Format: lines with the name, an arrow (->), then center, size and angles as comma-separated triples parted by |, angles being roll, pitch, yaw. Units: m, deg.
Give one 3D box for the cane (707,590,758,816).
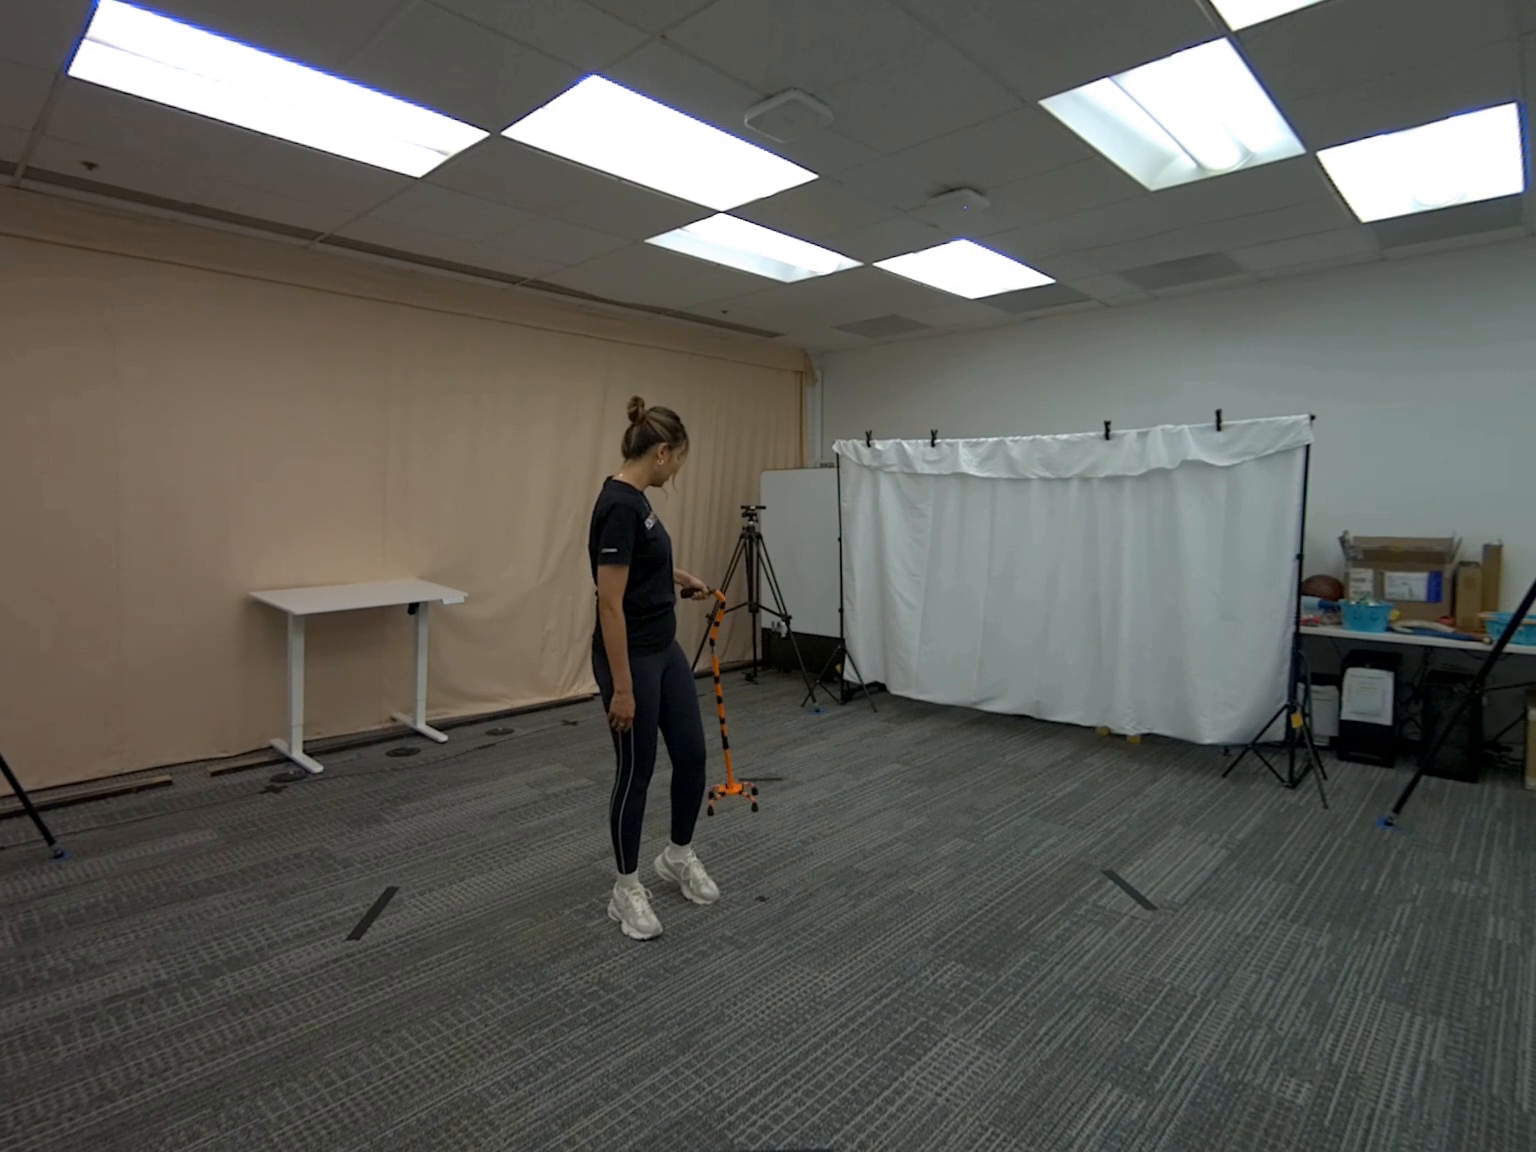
cane -> -0.185, 0.496, 3.264 | 0.208, 0.899, 0.152 | -5, 13, 5
